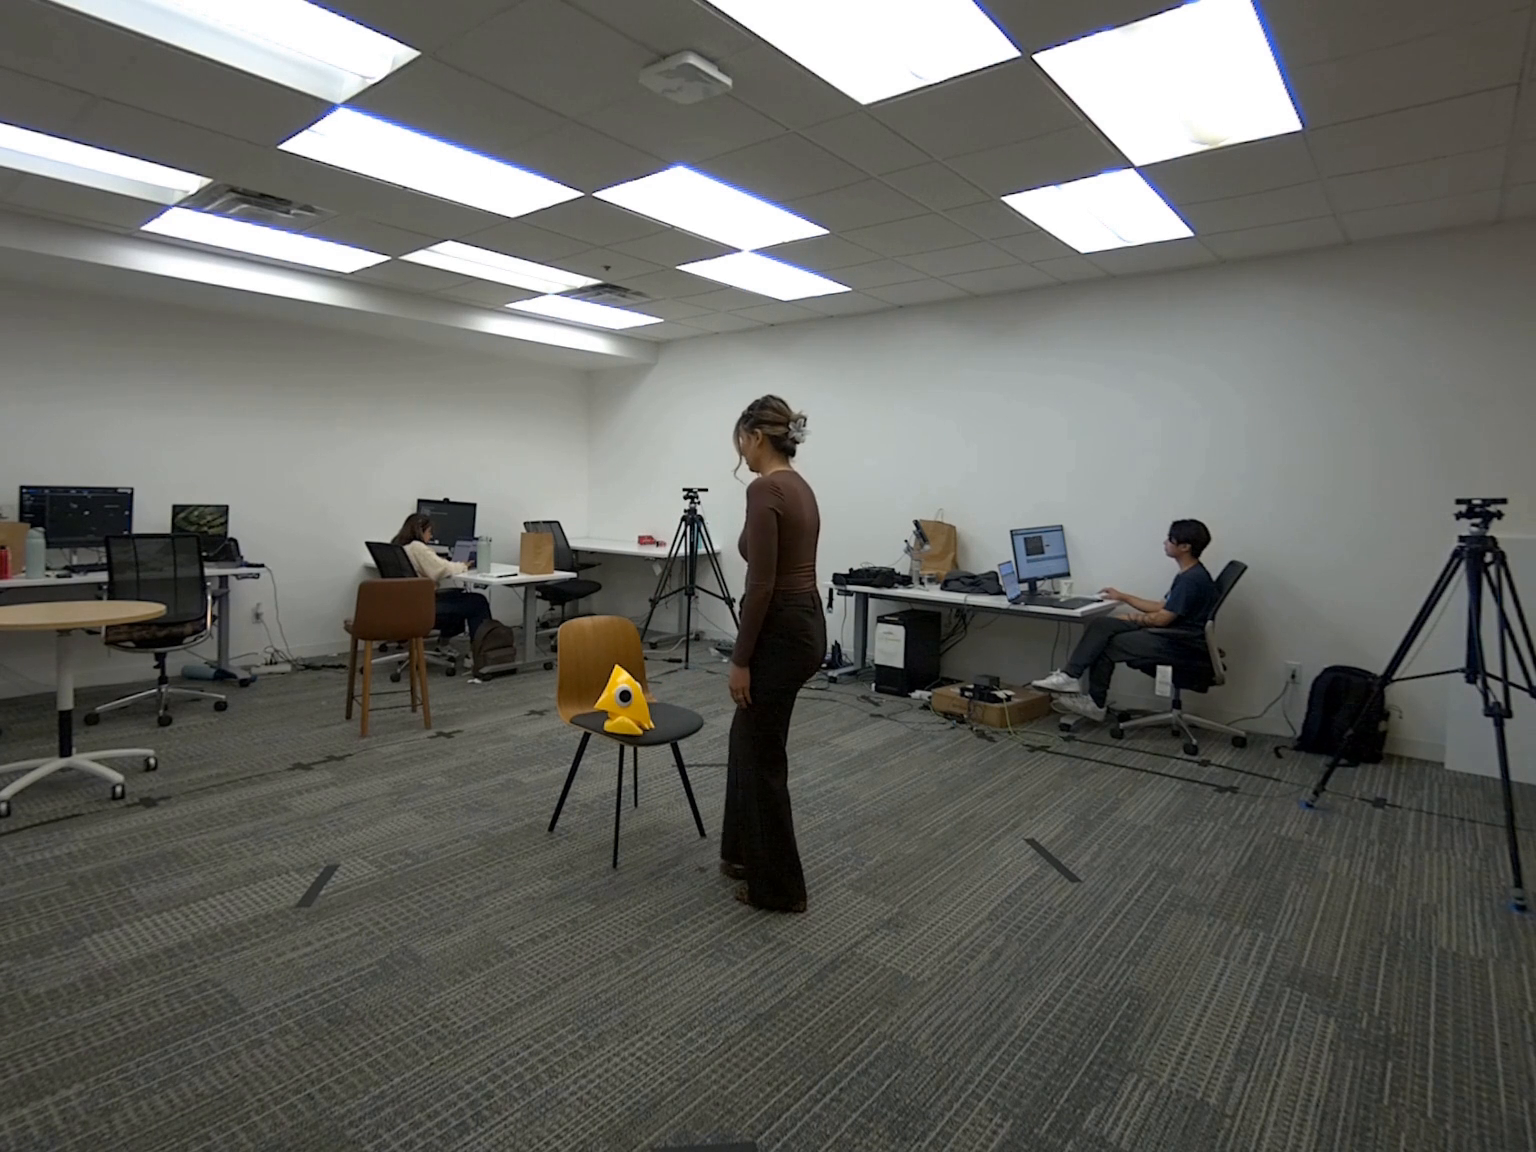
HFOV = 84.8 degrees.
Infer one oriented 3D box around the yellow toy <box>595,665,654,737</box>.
[{"bbox_3d":[-0.535,0.457,3.186,0.196,0.231,0.201,4,0,15],"label":"yellow toy"}]
